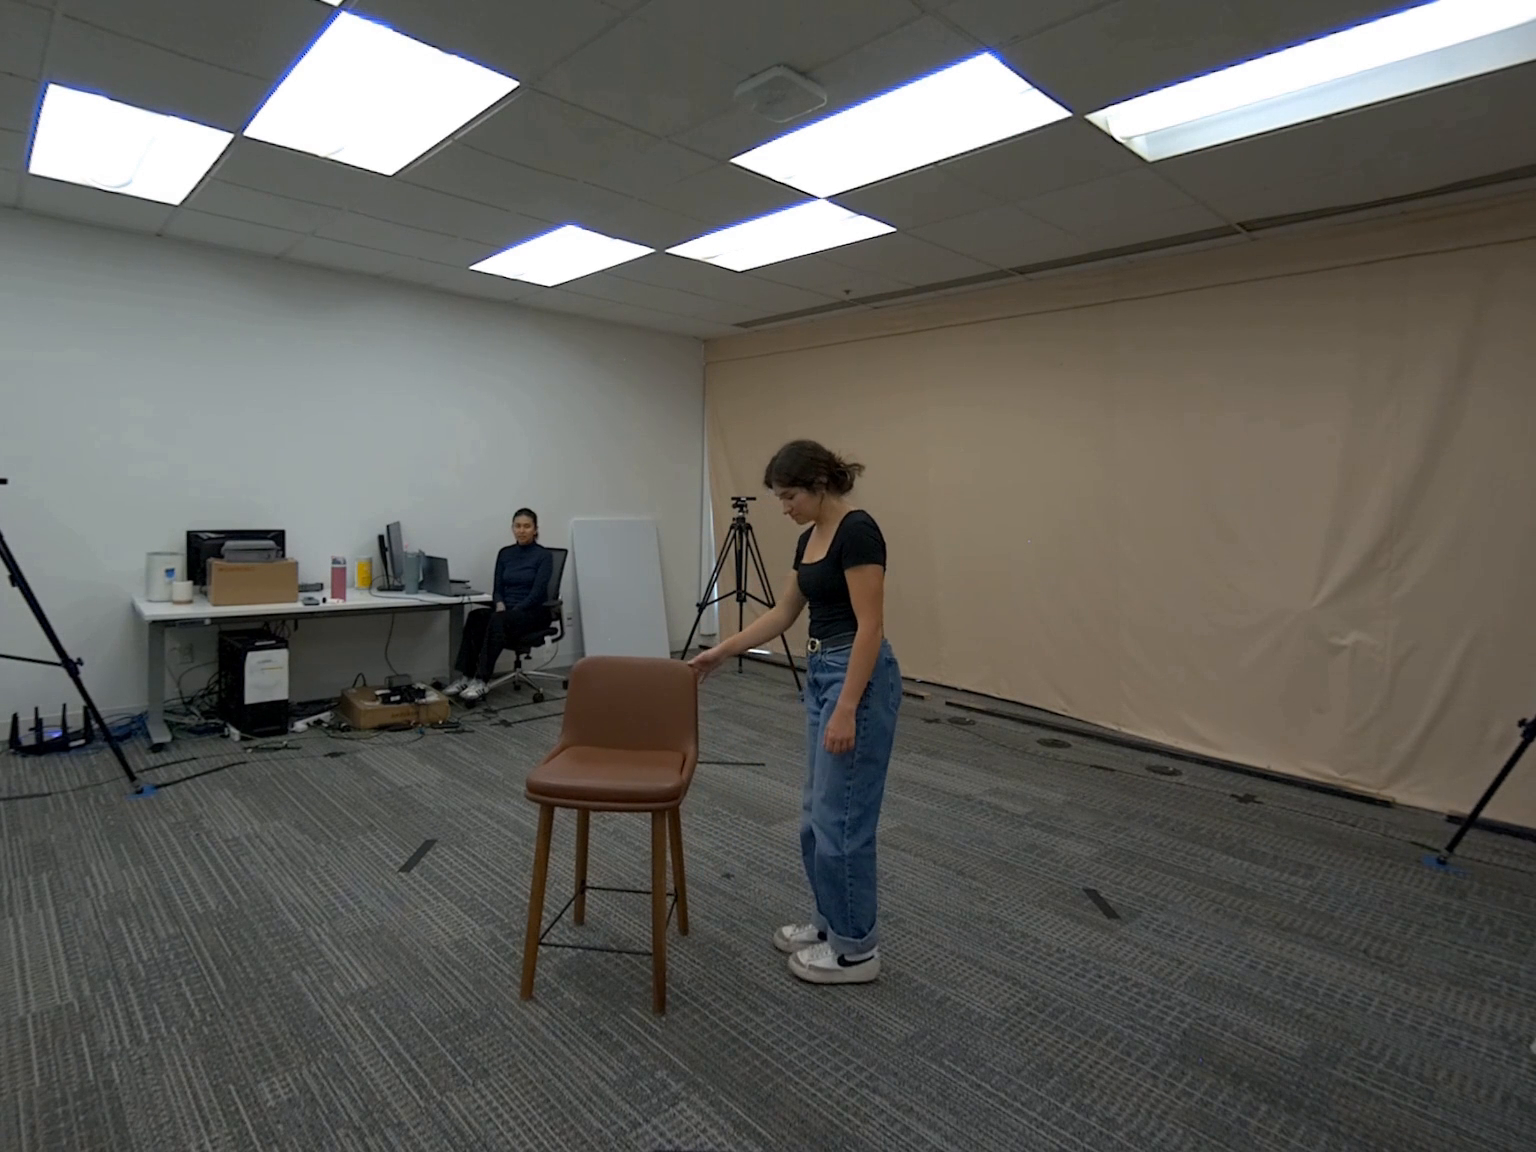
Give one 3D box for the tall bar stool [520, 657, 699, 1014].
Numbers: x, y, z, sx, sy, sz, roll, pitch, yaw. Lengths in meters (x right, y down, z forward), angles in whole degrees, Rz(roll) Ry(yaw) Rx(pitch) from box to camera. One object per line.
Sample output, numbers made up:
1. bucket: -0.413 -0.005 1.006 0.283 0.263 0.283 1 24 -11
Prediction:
1. tall bar stool: -0.452 0.720 2.488 0.459 0.889 0.465 2 1 7
